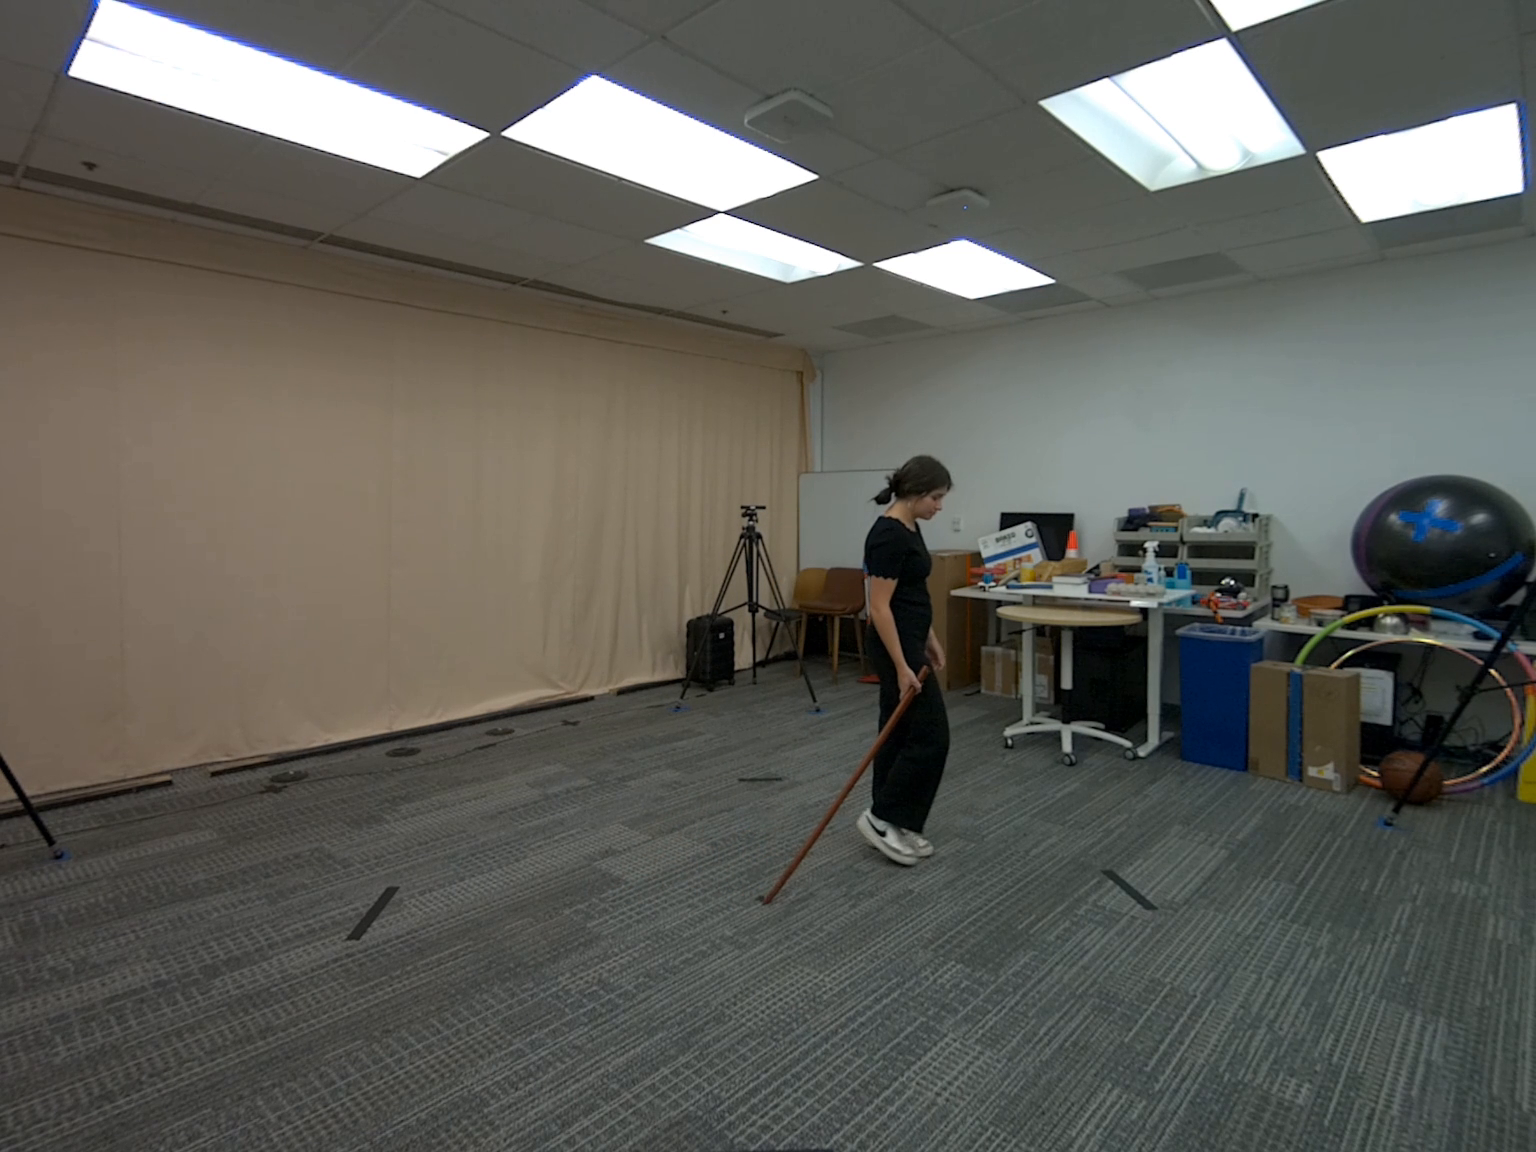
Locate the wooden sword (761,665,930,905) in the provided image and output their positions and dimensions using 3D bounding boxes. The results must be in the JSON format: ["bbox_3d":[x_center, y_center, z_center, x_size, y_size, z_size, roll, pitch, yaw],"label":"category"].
[{"bbox_3d":[0.294,0.755,3.043,0.025,1.022,0.049,25,-18,52],"label":"wooden sword"}]
